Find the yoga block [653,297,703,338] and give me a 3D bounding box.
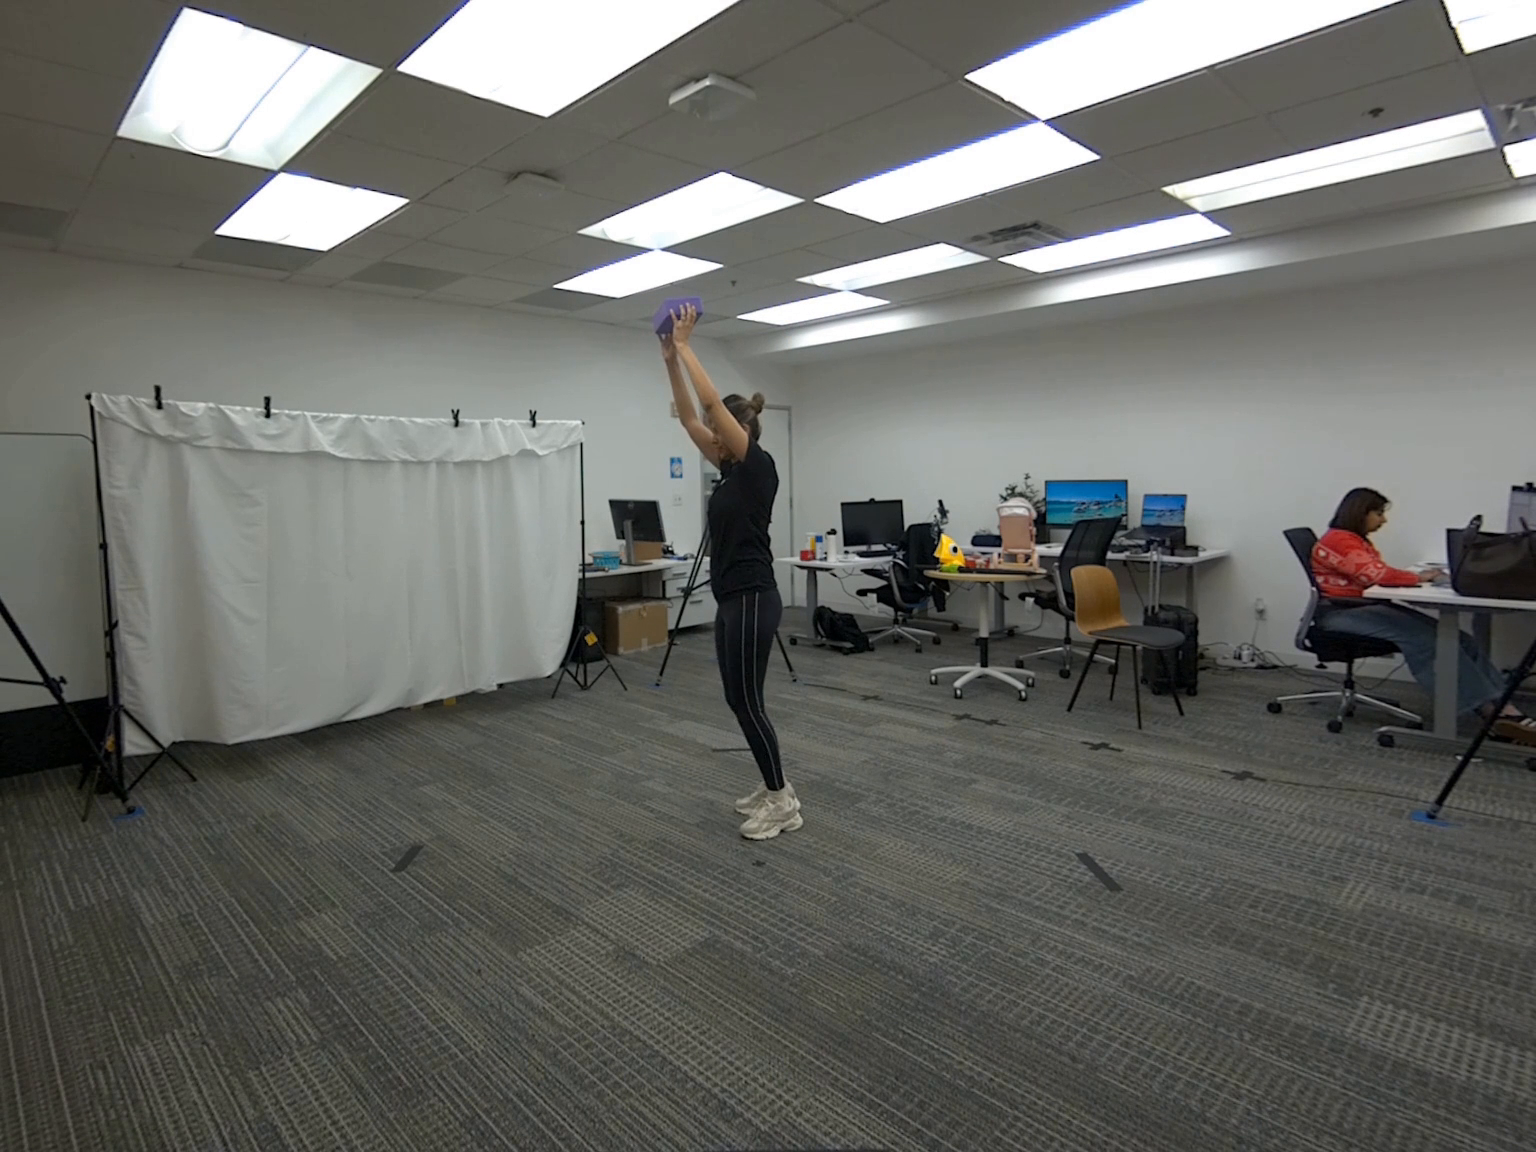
[{"bbox_3d":[-0.360,-1.028,3.364,0.147,0.076,0.232,-11,1,-16],"label":"yoga block"}]
